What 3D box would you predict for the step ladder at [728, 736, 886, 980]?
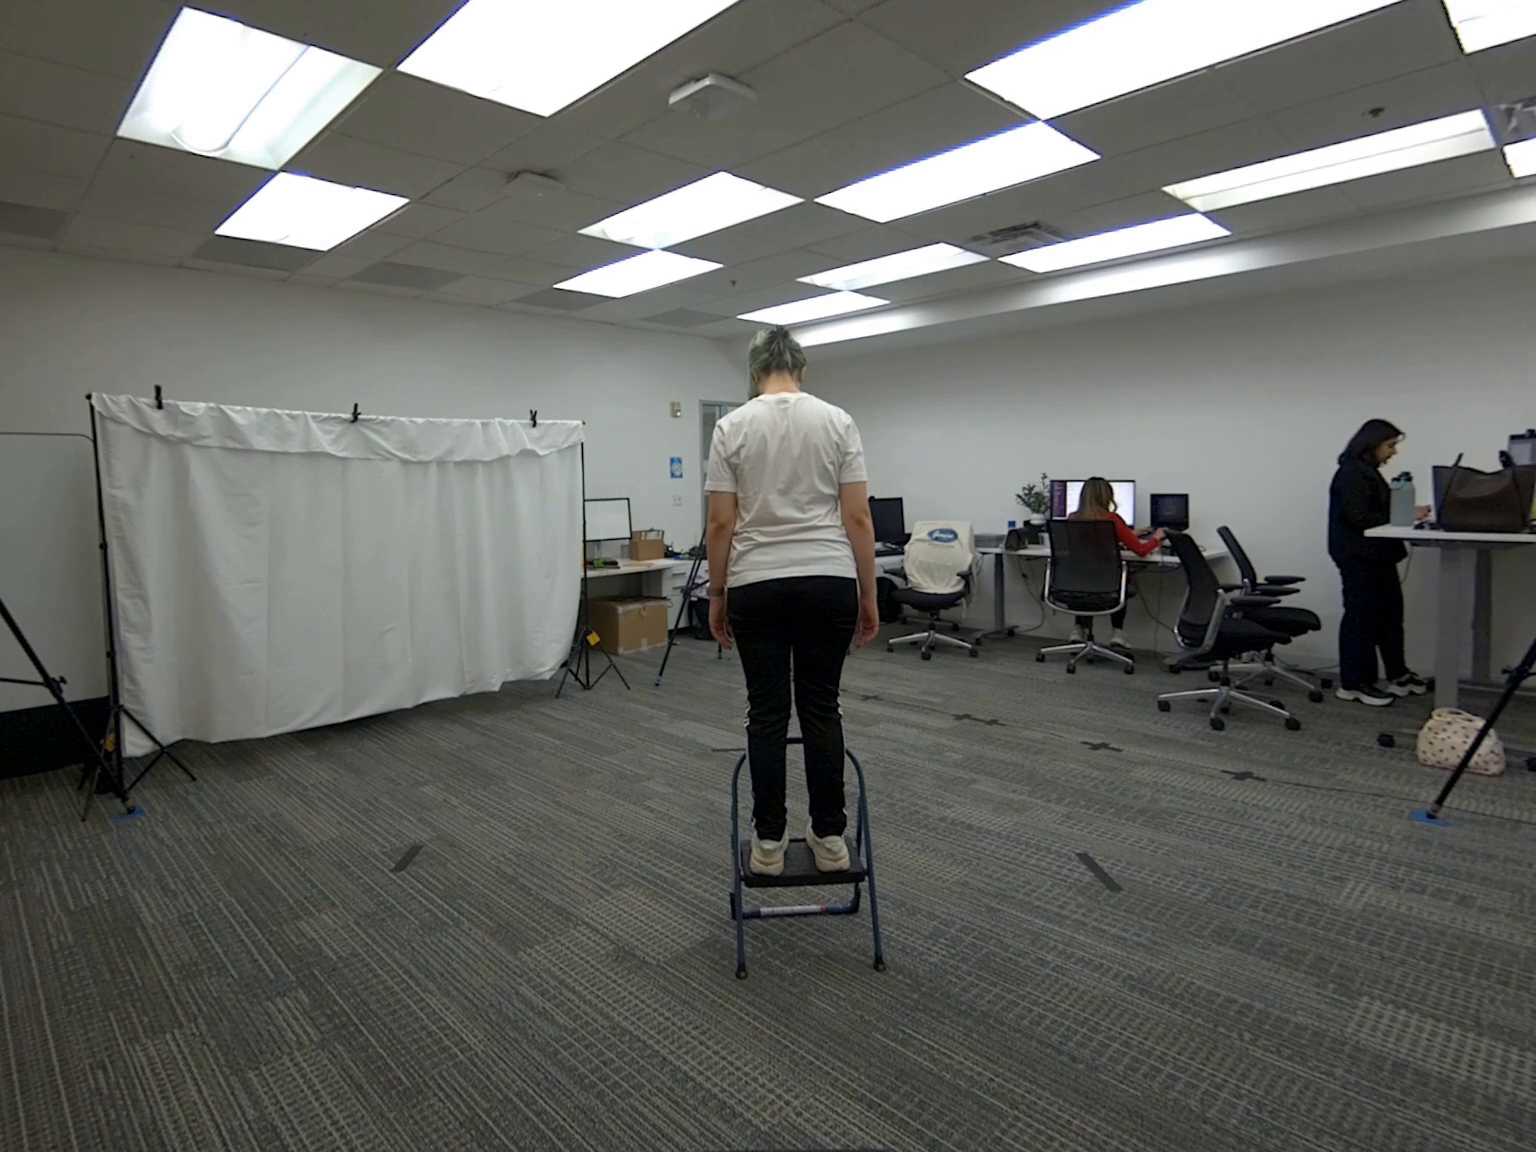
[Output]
[{"bbox_3d":[0.104,0.809,2.566,0.429,0.603,0.352,-1,5,-5],"label":"step ladder"}]
